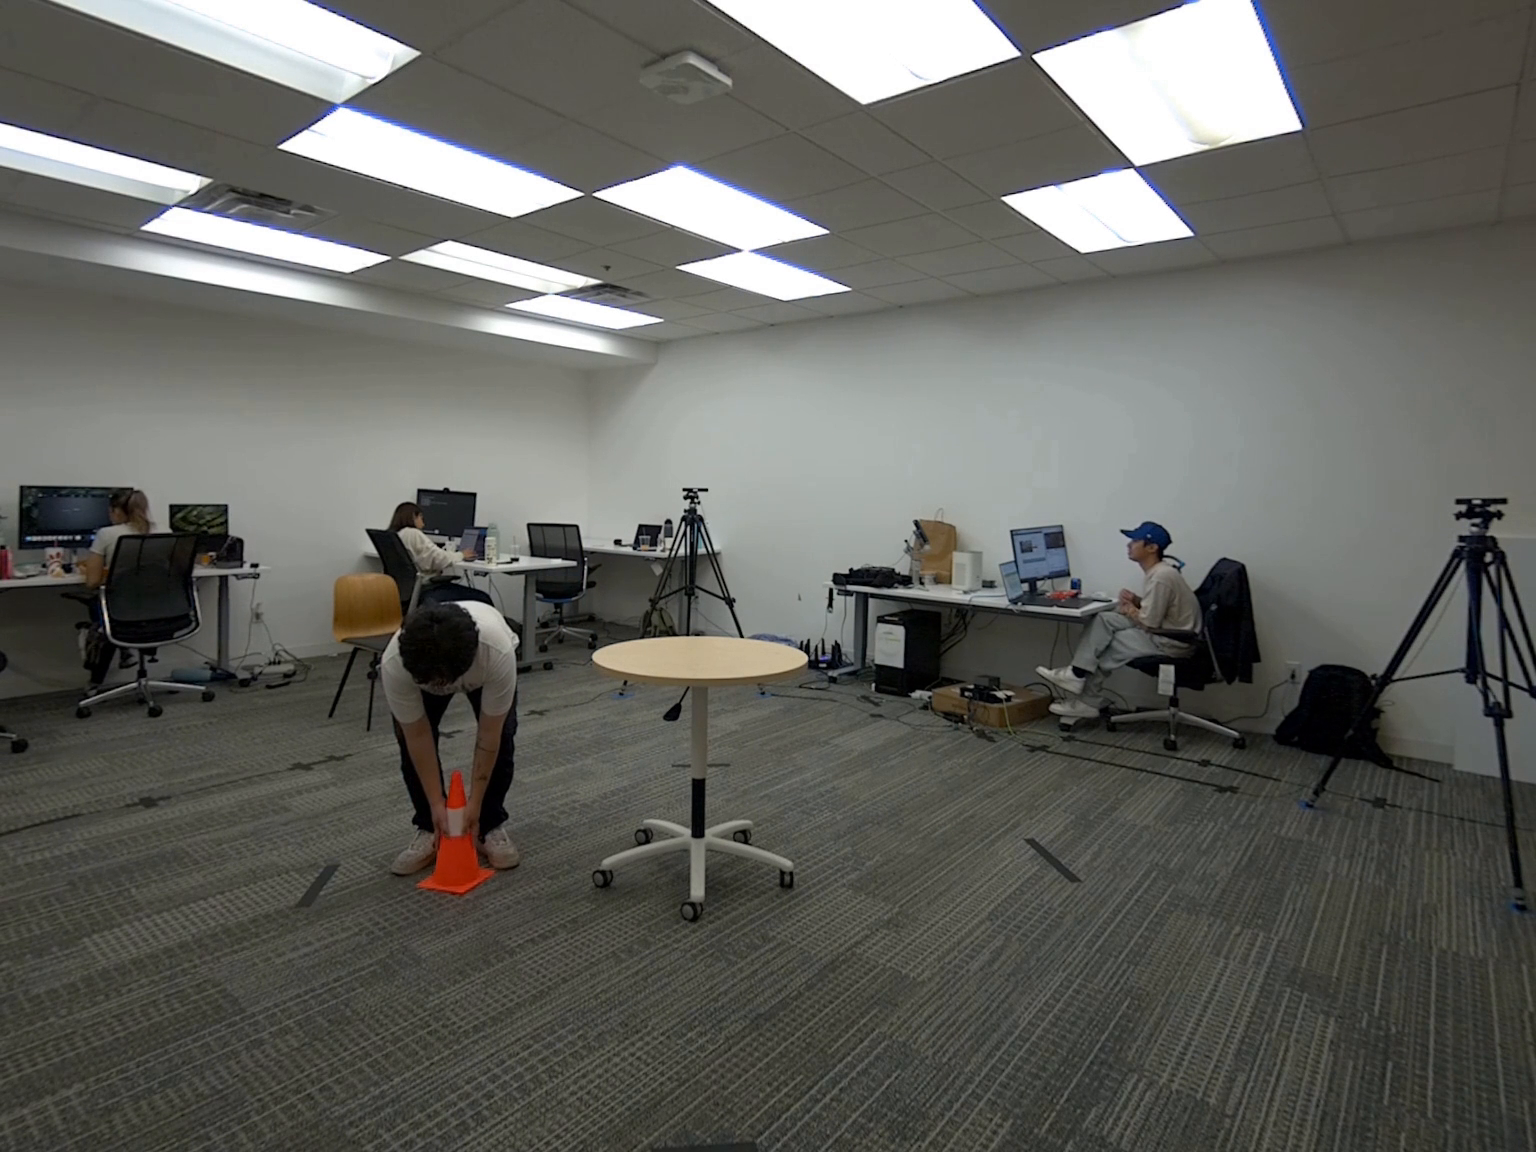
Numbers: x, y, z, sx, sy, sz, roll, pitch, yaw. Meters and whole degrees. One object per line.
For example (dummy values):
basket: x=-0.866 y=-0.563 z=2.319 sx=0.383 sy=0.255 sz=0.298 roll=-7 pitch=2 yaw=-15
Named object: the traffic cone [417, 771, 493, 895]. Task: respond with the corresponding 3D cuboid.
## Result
traffic cone: x=-1.132 y=0.877 z=2.993 sx=0.211 sy=0.383 sz=0.198 roll=-1 pitch=3 yaw=33
